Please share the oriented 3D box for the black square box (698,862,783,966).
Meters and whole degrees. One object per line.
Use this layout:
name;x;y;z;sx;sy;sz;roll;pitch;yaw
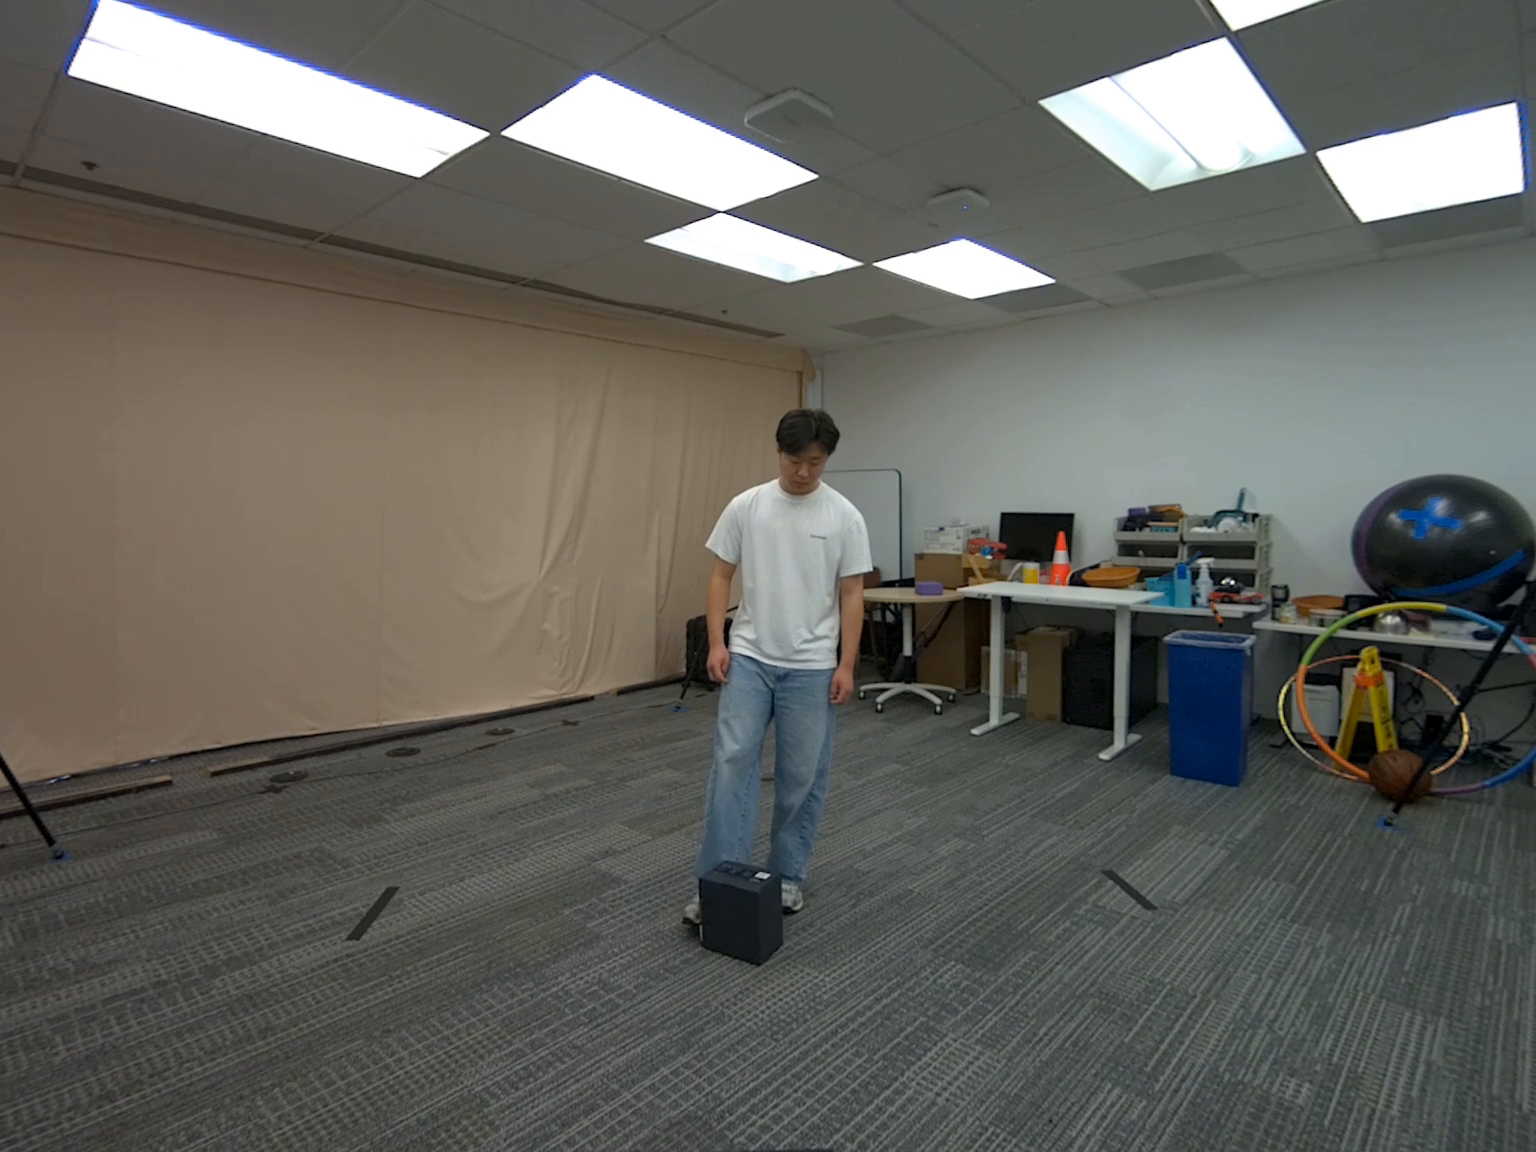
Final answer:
black square box;-0.071;1.048;2.650;0.223;0.227;0.152;2;5;29
